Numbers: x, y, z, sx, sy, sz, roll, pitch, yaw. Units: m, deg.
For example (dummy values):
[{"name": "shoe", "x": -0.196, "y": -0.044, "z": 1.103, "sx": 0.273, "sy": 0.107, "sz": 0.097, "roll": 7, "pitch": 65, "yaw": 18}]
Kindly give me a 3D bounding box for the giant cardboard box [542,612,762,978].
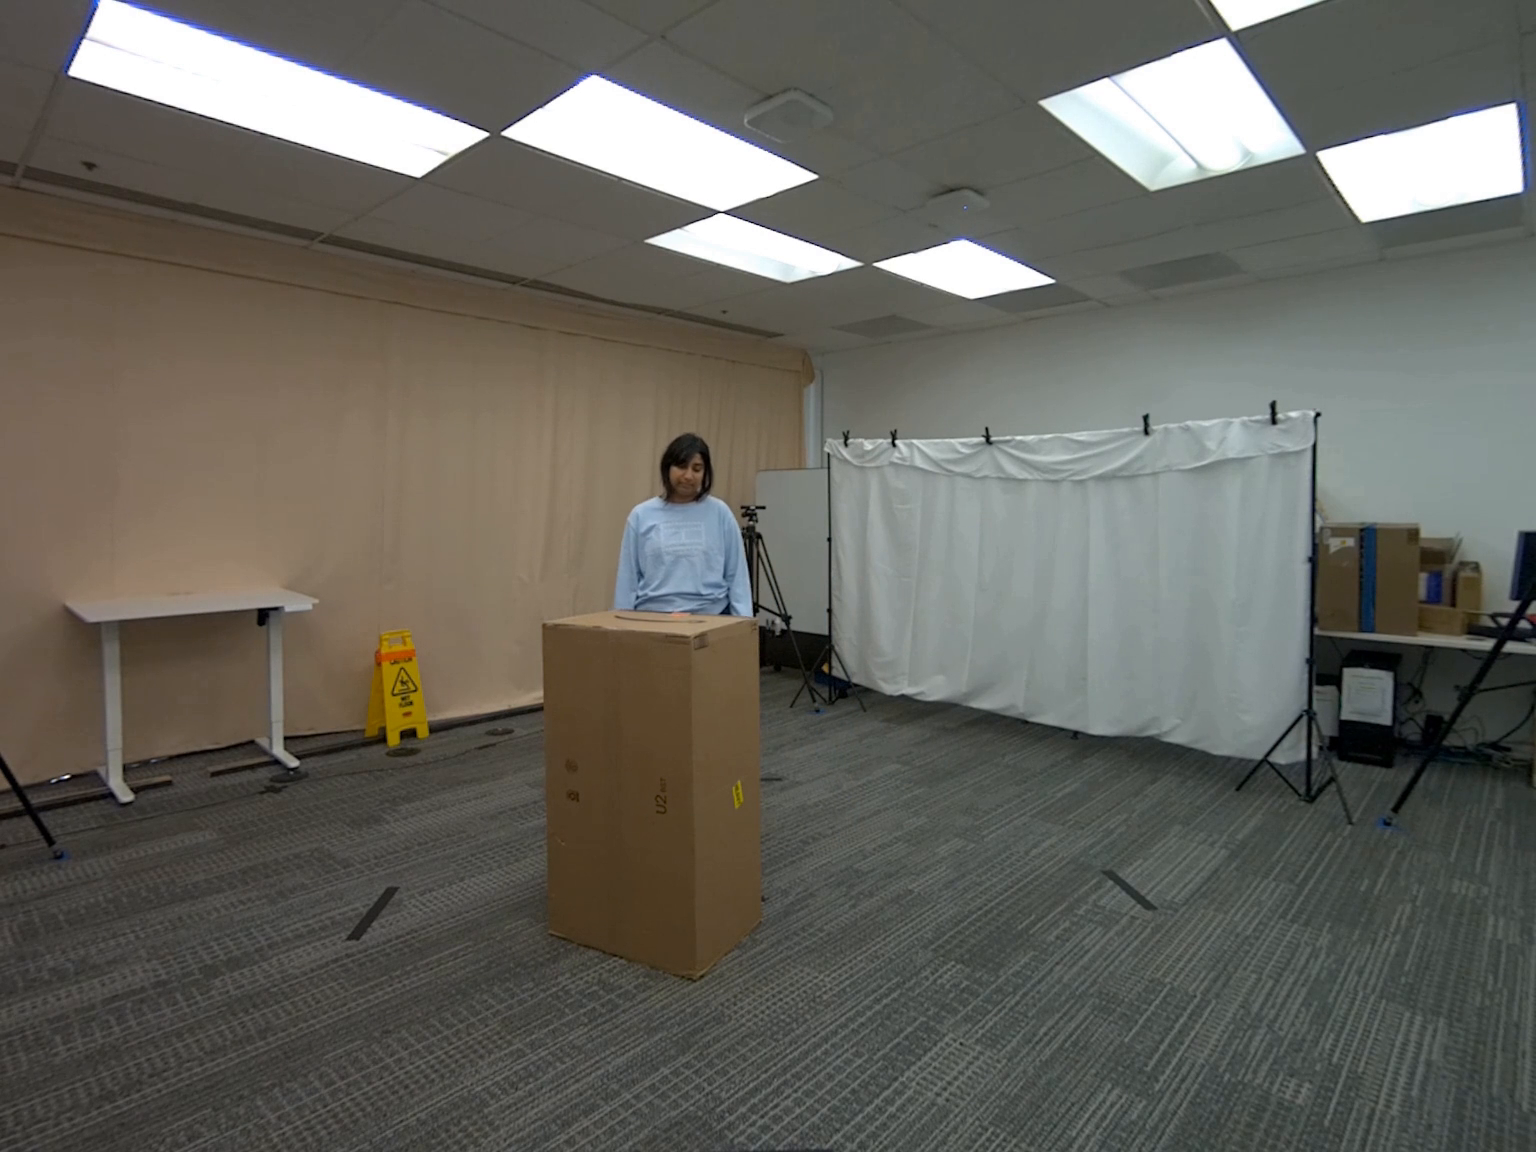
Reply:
[{"name": "giant cardboard box", "x": -0.374, "y": 0.655, "z": 2.769, "sx": 0.594, "sy": 1.024, "sz": 0.415, "roll": 1, "pitch": 3, "yaw": 29}]
